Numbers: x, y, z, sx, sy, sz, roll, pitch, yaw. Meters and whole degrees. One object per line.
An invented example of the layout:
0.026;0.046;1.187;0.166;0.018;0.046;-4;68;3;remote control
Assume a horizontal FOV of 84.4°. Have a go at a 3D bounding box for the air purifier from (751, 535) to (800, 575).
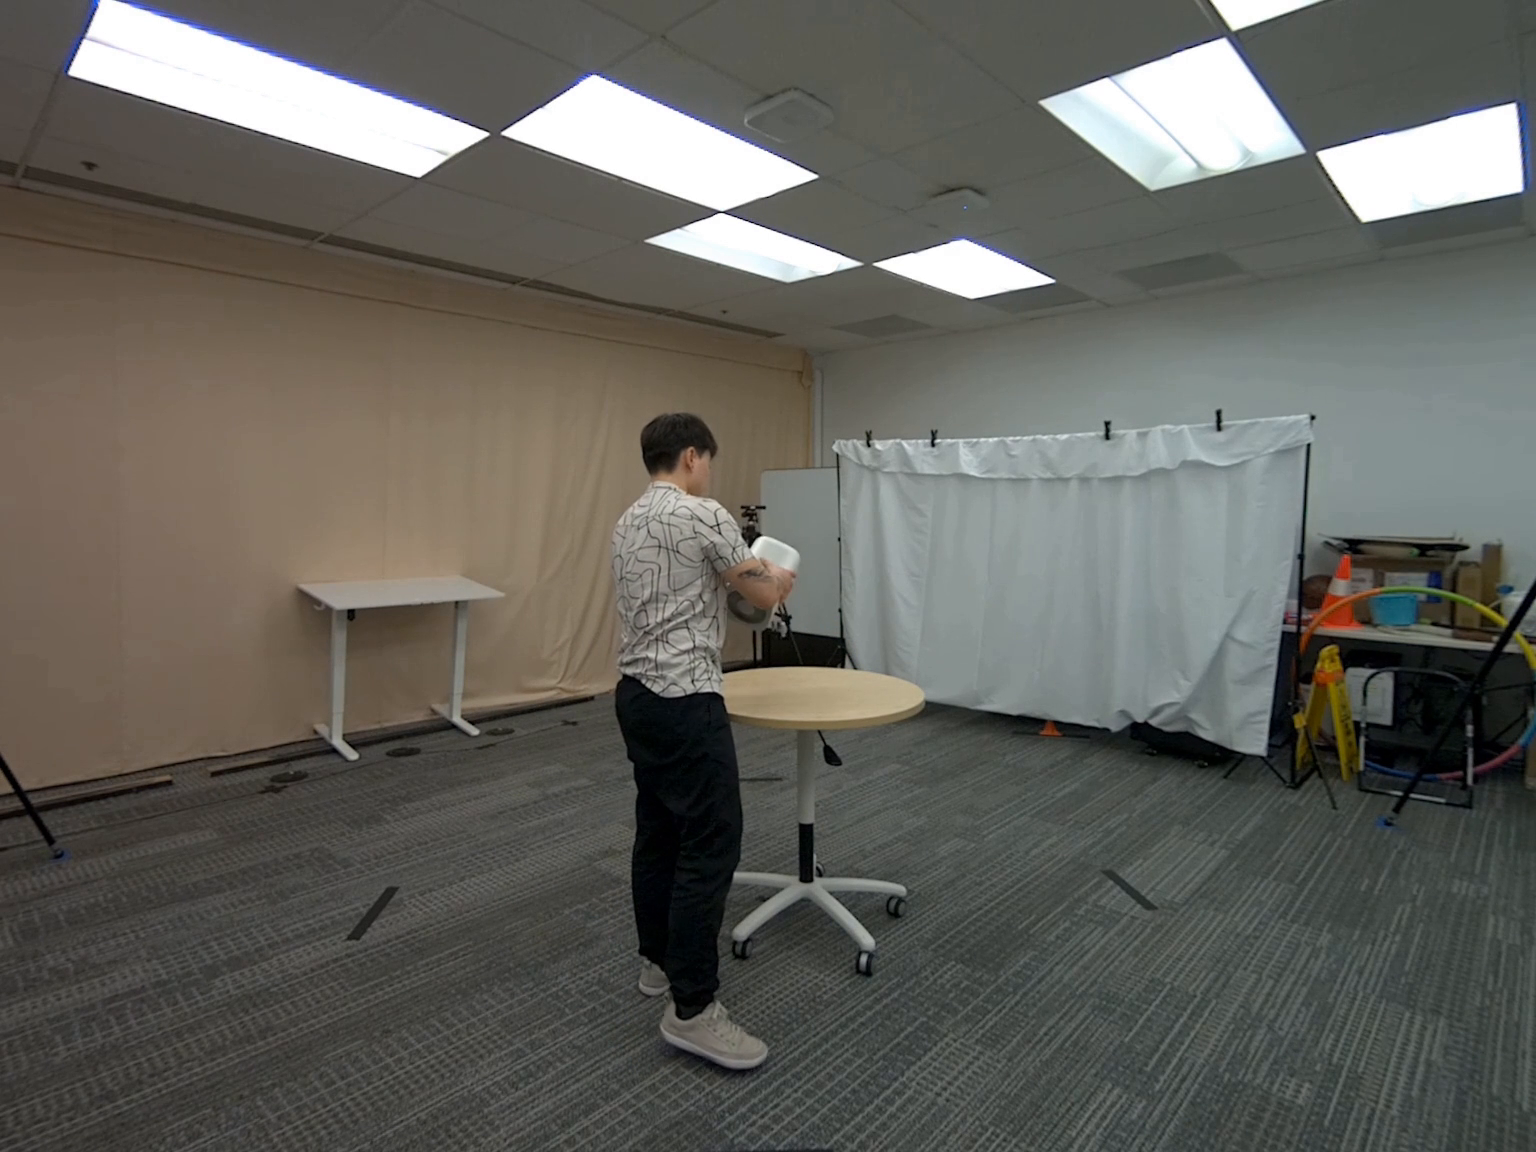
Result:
-0.011;0.016;2.732;0.173;0.169;0.265;22;46;6;air purifier
